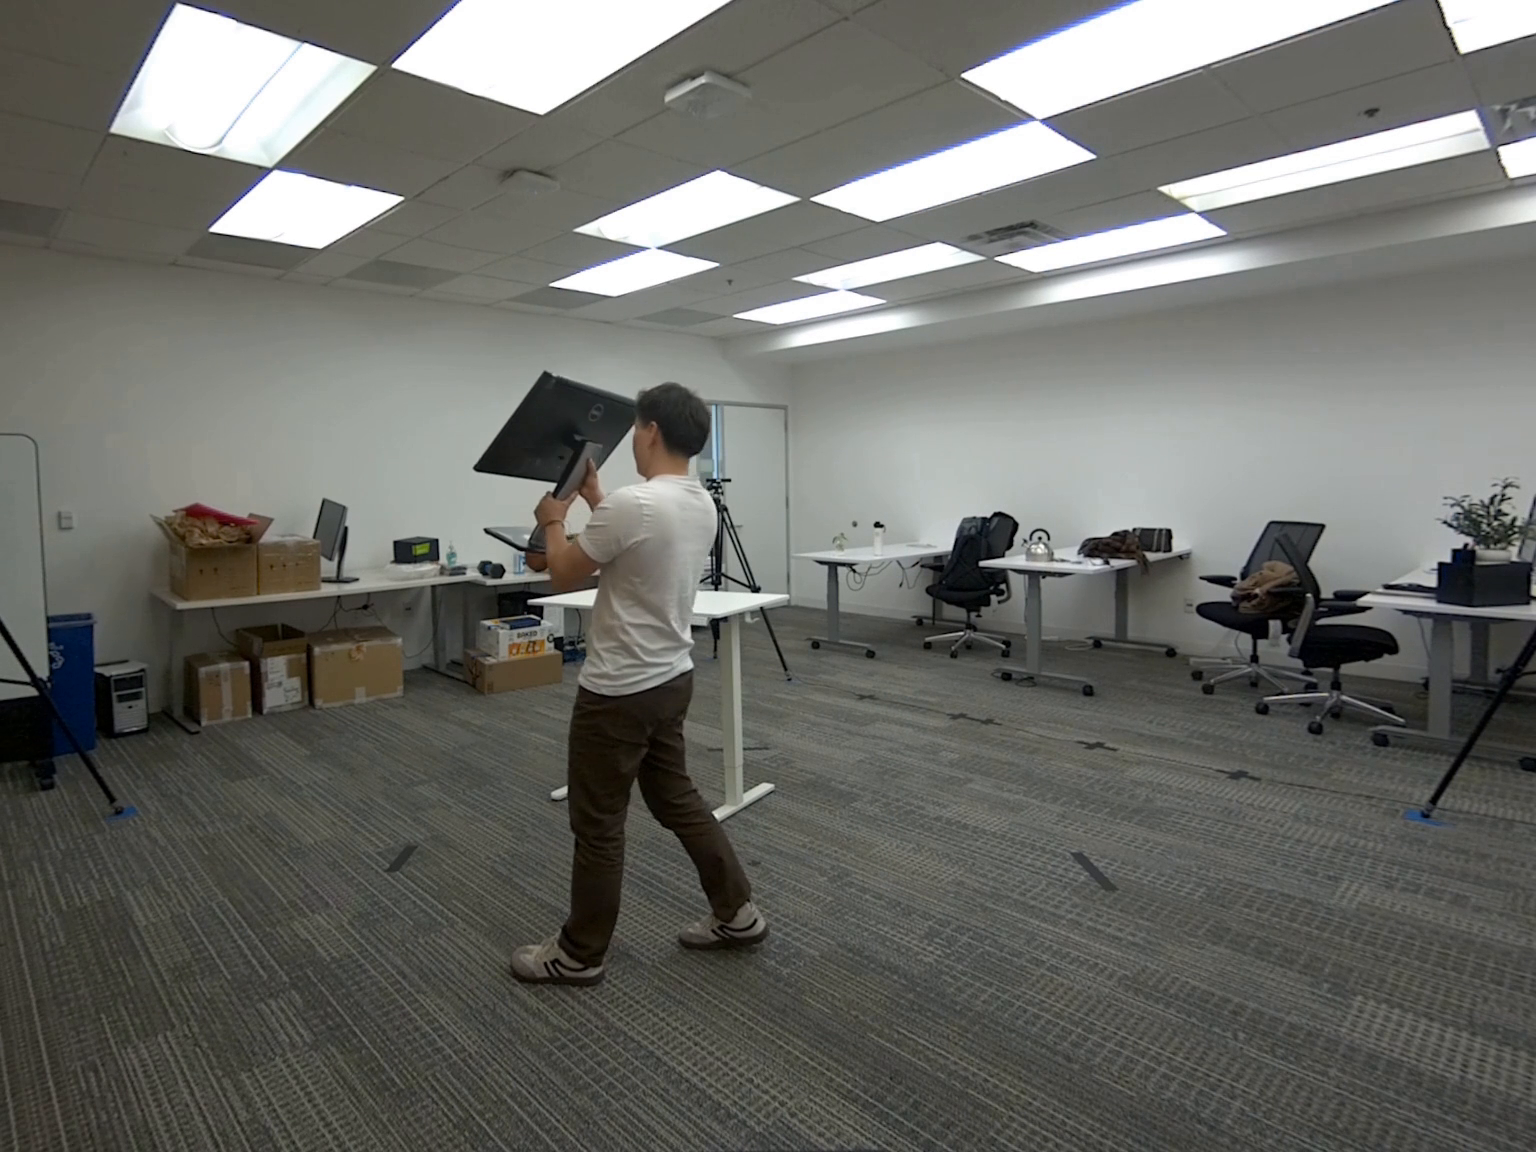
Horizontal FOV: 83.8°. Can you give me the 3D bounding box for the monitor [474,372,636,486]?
[{"bbox_3d":[-0.613,-0.329,2.555,0.191,0.520,0.528,30,11,17],"label":"monitor"}]
